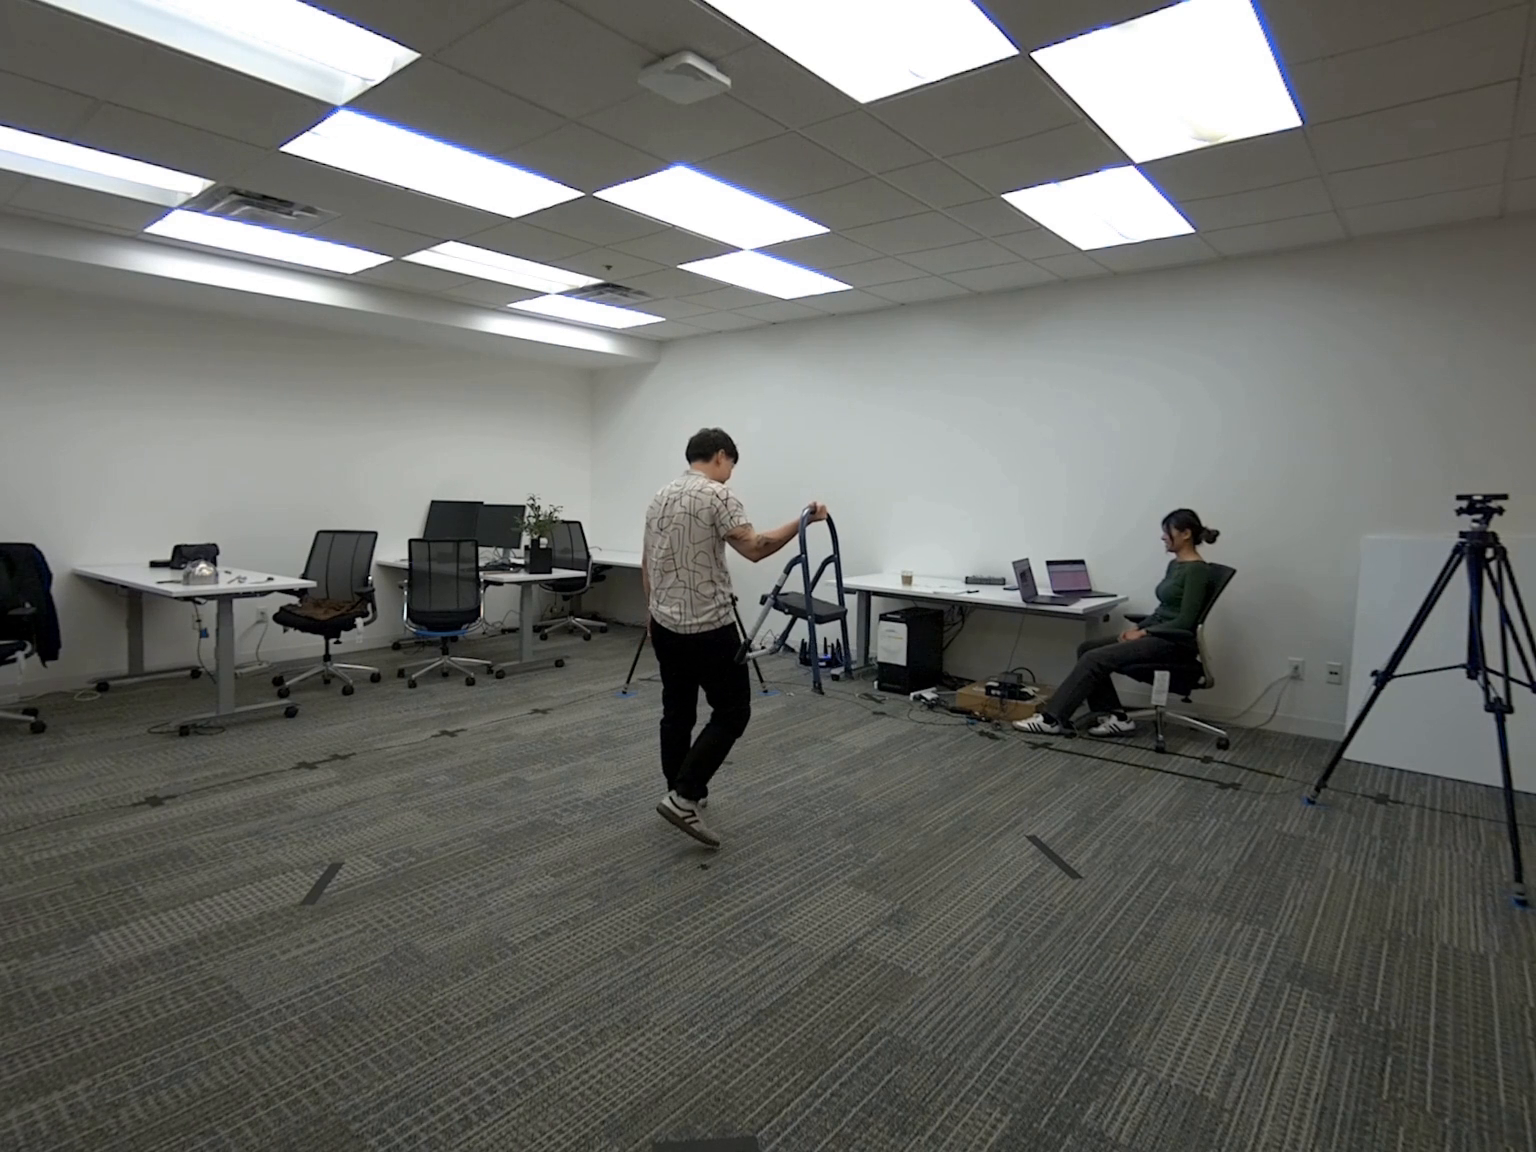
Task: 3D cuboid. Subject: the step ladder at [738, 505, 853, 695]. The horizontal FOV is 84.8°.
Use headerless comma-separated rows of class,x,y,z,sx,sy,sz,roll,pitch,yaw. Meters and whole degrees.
step ladder,0.162,0.051,3.141,0.359,0.604,0.420,16,6,22
